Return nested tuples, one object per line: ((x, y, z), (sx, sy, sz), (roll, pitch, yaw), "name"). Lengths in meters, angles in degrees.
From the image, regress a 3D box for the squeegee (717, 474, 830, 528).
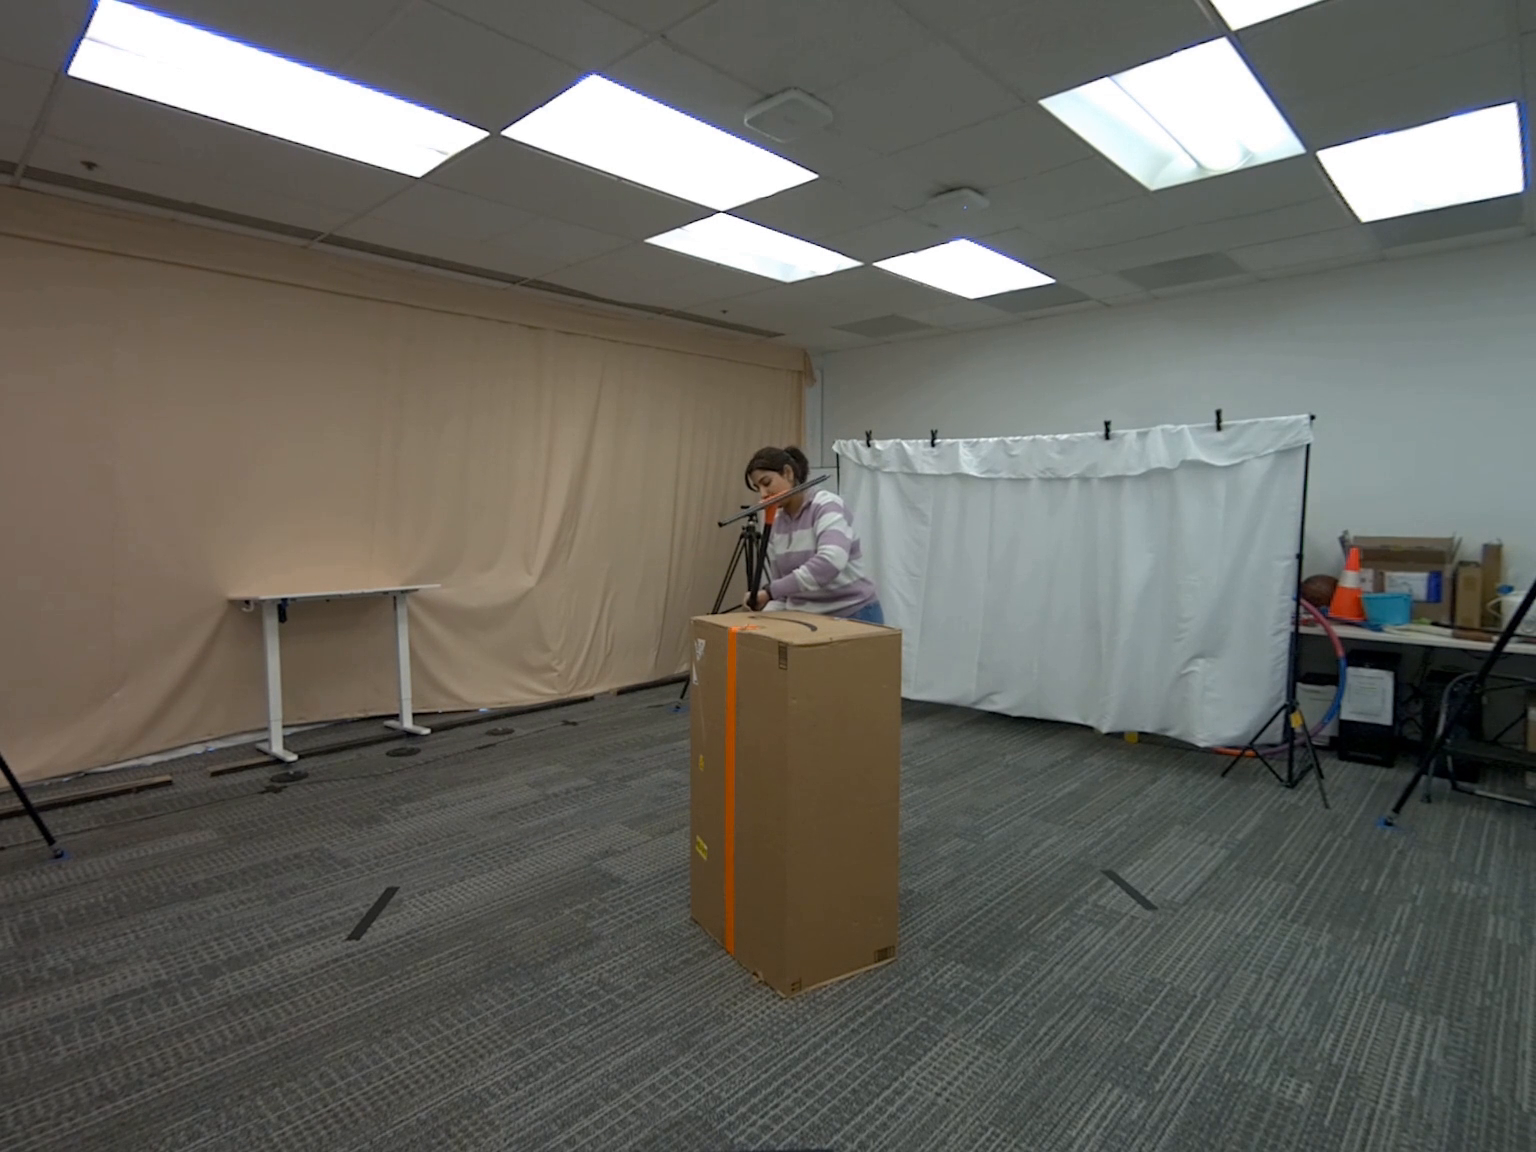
((-0.103, 0.274, 3.181), (0.429, 1.520, 0.054), (-29, 58, -34), "squeegee")
